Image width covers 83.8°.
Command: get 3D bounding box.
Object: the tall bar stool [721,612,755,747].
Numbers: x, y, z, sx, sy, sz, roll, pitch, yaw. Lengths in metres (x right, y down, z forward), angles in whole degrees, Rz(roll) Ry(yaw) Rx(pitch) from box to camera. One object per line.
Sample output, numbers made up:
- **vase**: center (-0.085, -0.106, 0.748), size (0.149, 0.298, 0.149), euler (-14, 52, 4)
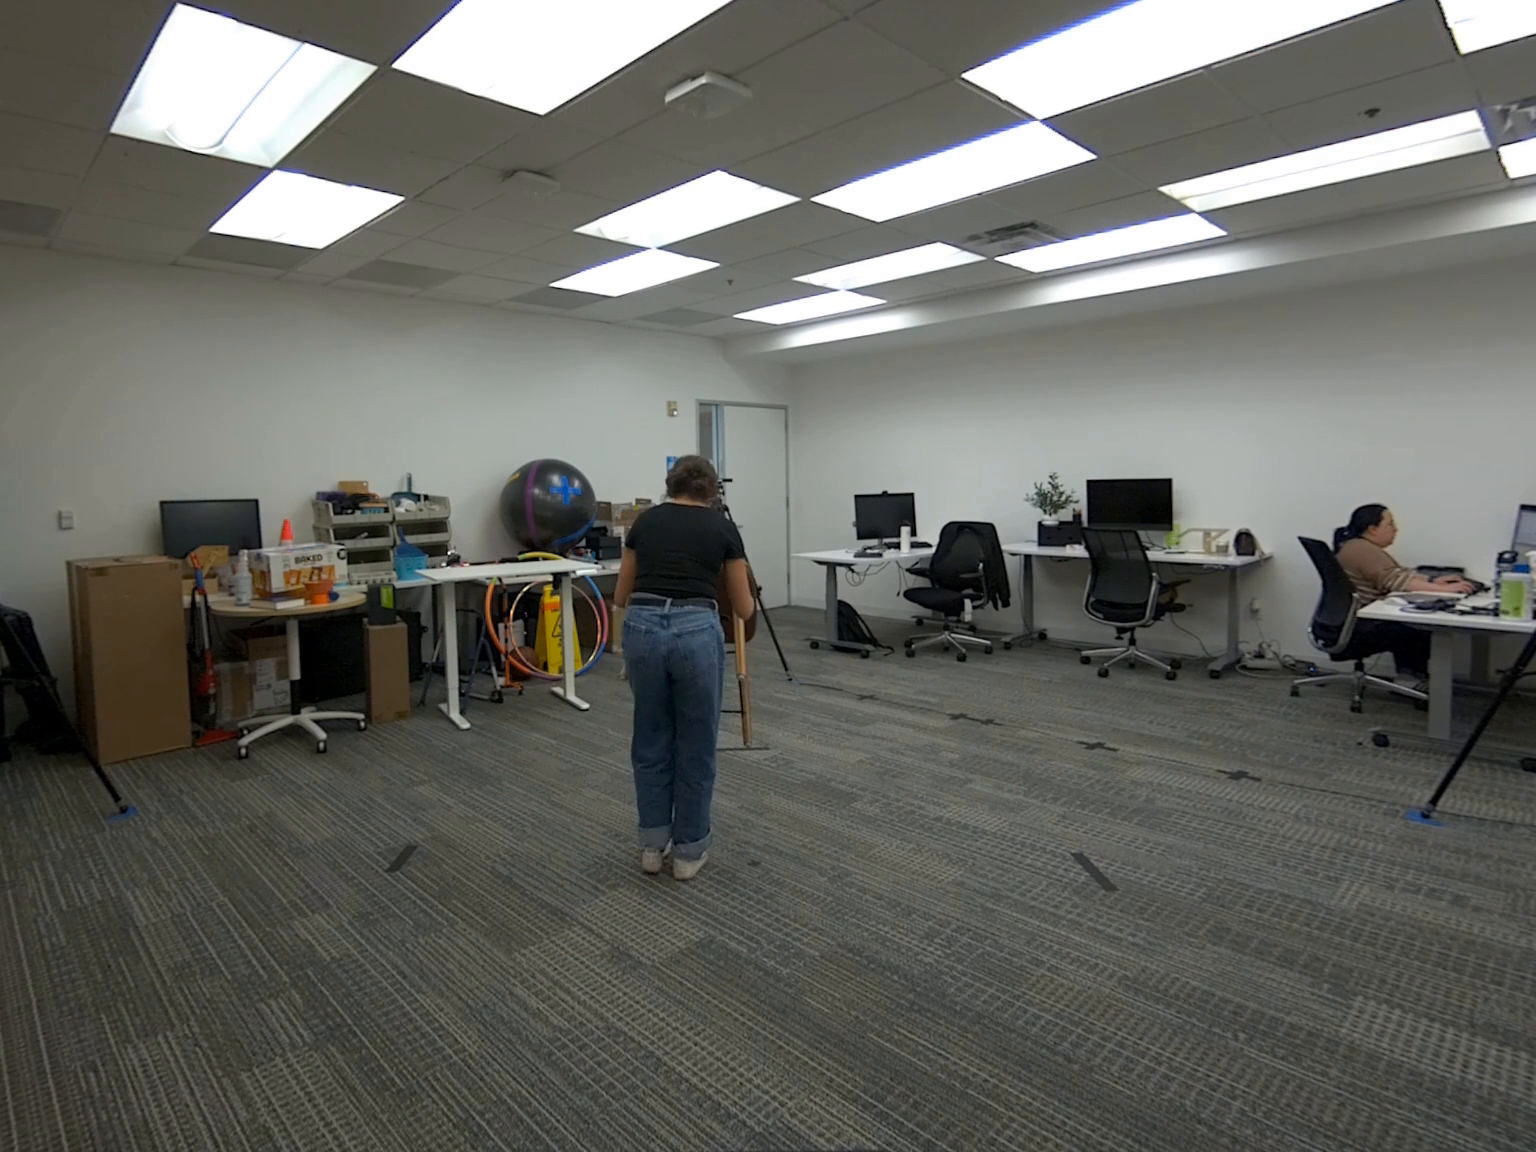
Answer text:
- **tall bar stool**: center (-0.269, 0.213, 3.434), size (0.470, 0.443, 0.912), euler (-1, 41, 3)
